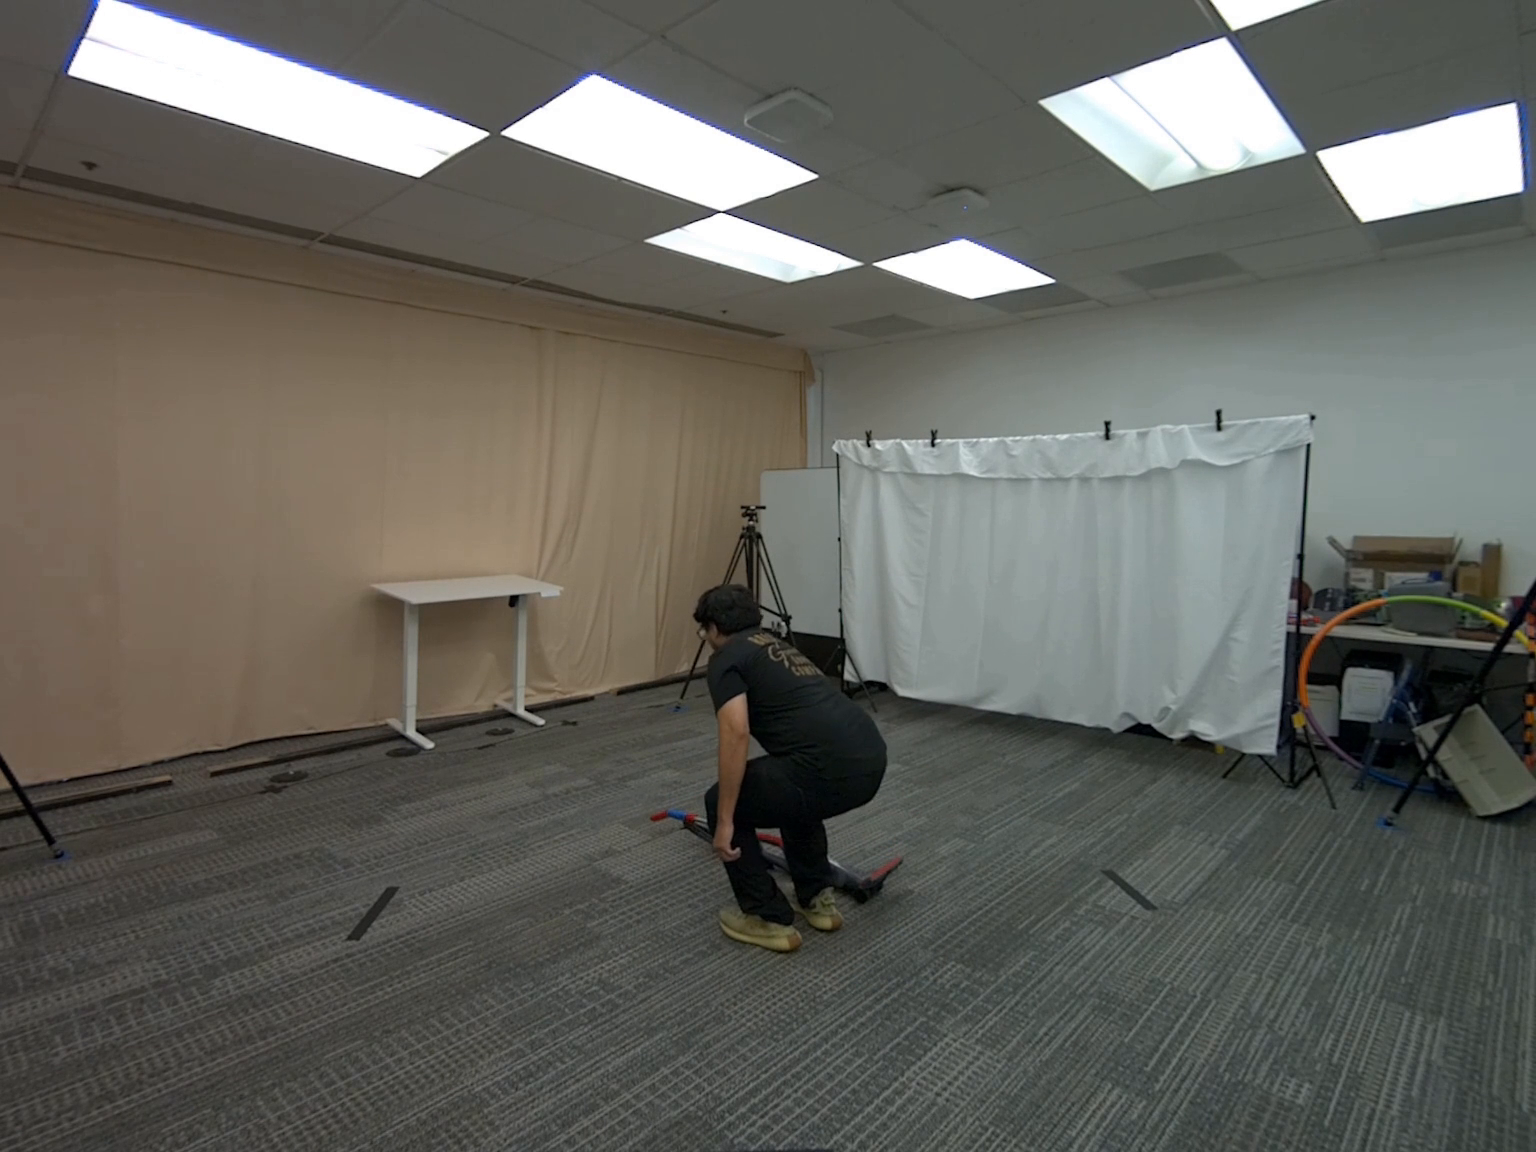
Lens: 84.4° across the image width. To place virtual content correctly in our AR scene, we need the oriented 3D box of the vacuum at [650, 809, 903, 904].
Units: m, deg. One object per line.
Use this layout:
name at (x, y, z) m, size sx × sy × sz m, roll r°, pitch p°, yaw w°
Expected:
vacuum at (-0.047, 1.059, 3.275) m, size 1.082 × 0.144 × 0.245 m, roll 2°, pitch 2°, yaw 35°
